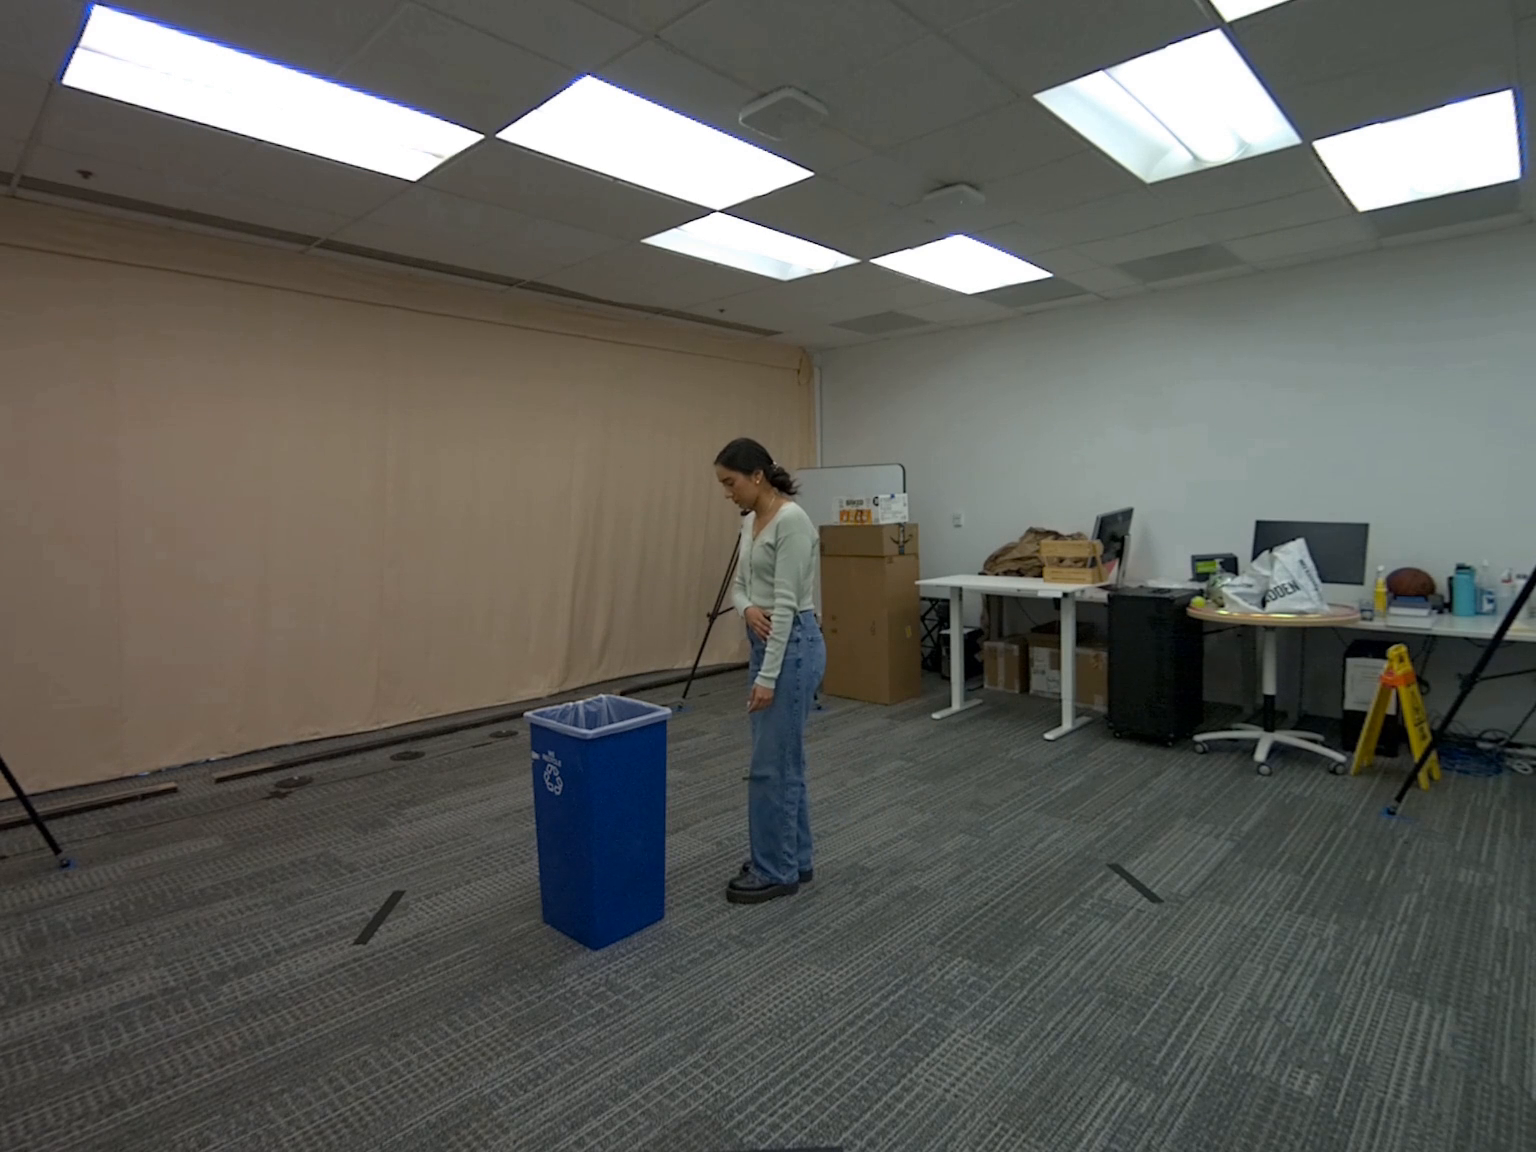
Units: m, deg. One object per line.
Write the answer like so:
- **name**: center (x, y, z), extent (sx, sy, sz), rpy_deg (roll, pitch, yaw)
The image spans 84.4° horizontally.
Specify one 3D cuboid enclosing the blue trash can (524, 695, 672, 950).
- **blue trash can**: center (-0.565, 0.809, 2.823), extent (0.390, 0.712, 0.363), rpy_deg (2, 4, 42)
